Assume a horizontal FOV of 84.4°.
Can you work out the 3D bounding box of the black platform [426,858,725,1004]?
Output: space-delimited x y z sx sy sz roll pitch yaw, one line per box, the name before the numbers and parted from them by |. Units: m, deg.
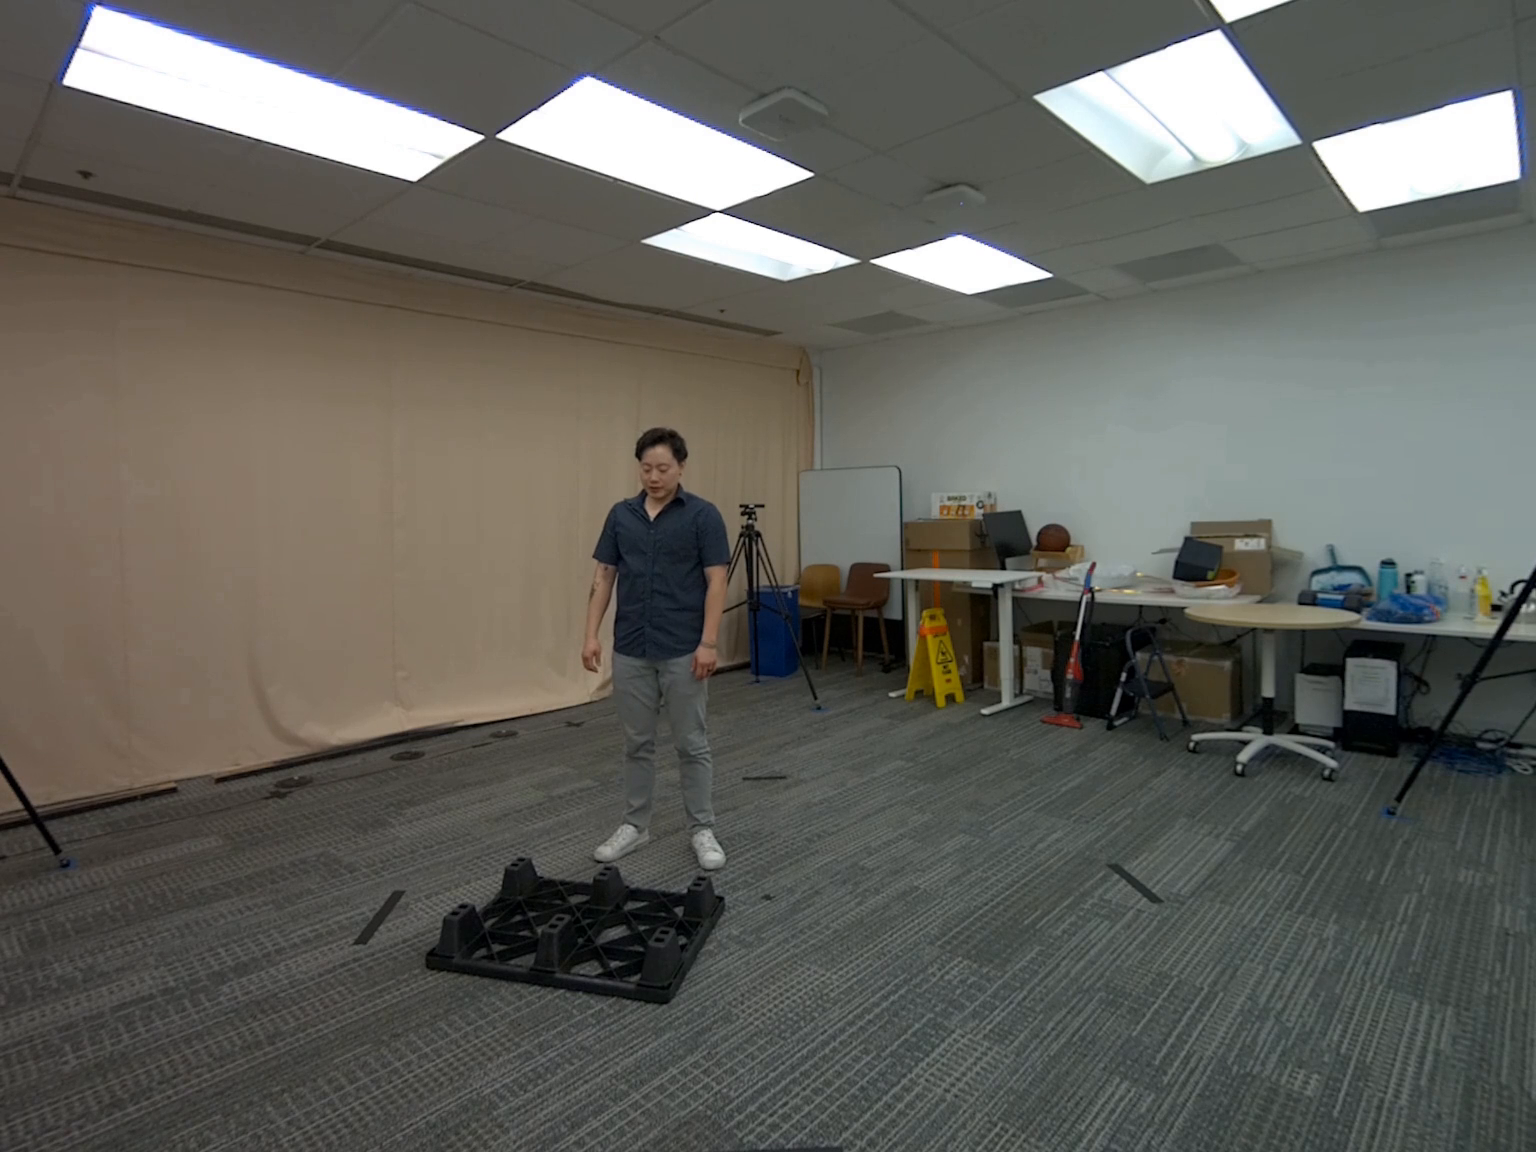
black platform | -0.604 1.110 2.734 0.819 0.143 0.596 -1 4 15
